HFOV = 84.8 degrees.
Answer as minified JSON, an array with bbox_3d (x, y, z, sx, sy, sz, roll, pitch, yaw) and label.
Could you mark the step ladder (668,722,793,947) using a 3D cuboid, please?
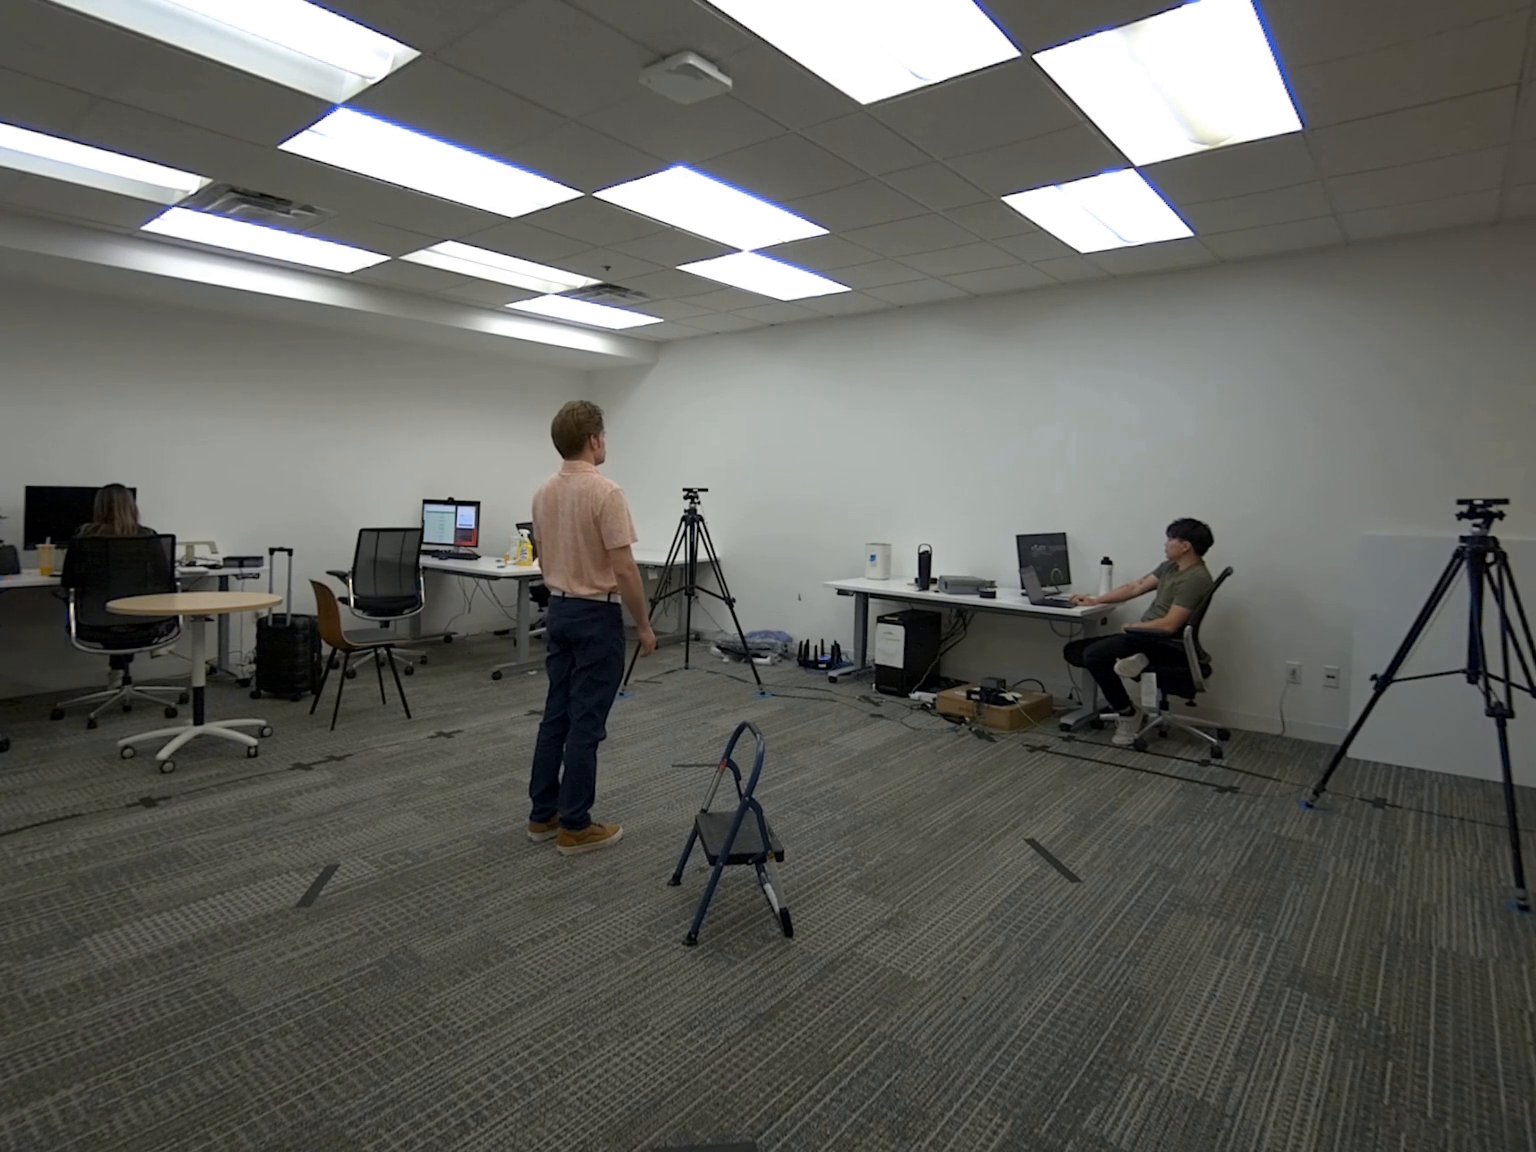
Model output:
[{"bbox_3d":[-0.132,0.801,2.801,0.345,0.604,0.438,0,4,-13],"label":"step ladder"}]
